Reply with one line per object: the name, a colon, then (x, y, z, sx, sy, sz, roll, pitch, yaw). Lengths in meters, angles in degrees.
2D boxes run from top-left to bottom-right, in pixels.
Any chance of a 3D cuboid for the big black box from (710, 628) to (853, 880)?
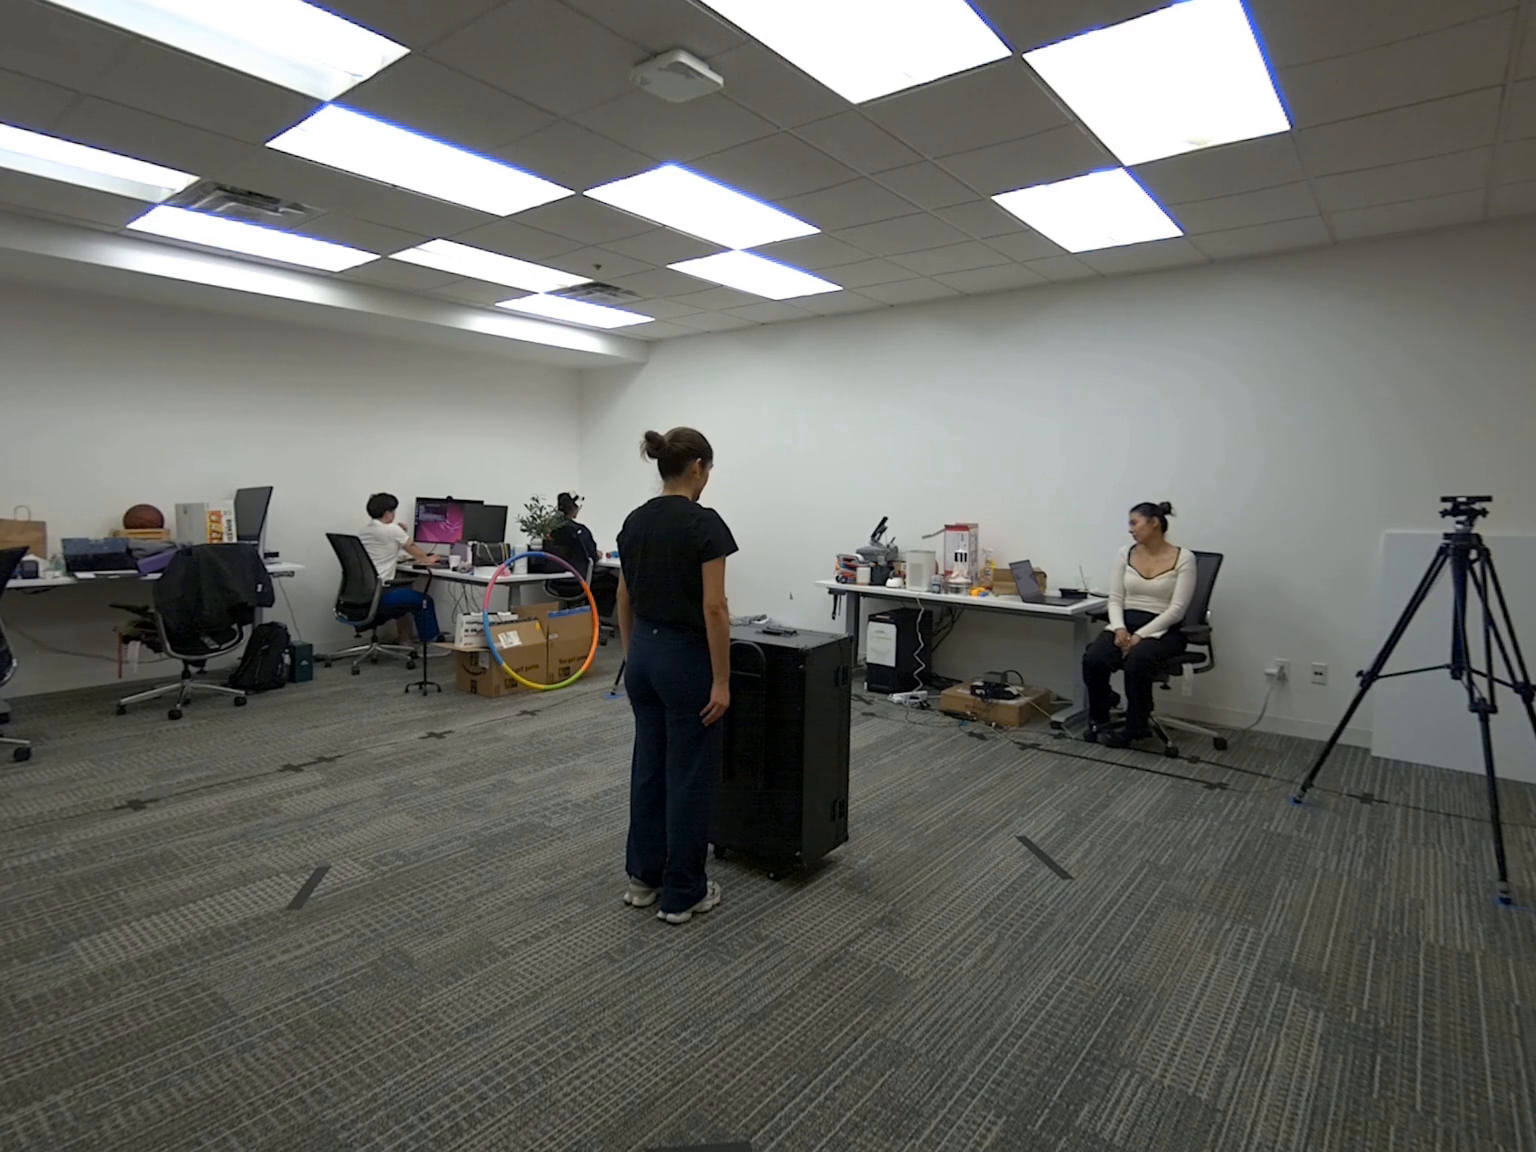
big black box: (0.033, 0.635, 3.205, 0.538, 0.859, 0.385, 3, 3, 35)
